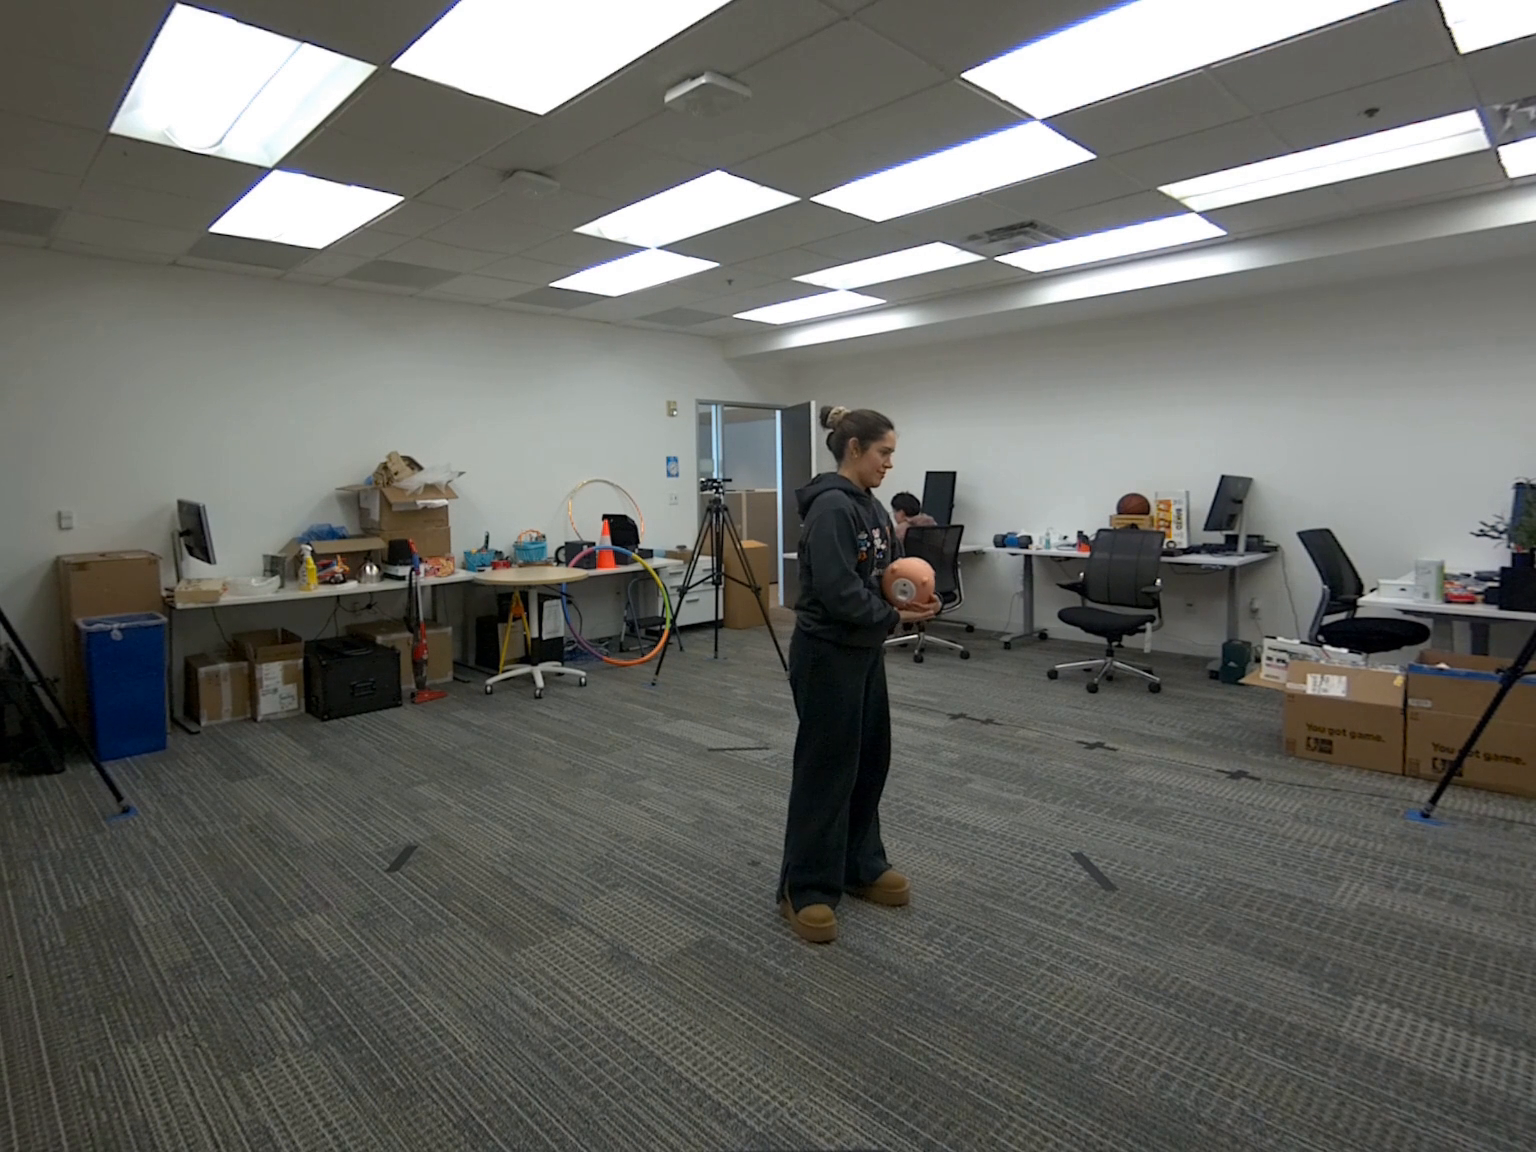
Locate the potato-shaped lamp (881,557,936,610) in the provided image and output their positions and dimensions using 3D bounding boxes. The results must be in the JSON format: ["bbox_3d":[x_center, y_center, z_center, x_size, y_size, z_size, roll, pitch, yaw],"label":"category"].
[{"bbox_3d":[0.443,0.013,2.739,0.168,0.168,0.197,22,30,17],"label":"potato-shaped lamp"}]
